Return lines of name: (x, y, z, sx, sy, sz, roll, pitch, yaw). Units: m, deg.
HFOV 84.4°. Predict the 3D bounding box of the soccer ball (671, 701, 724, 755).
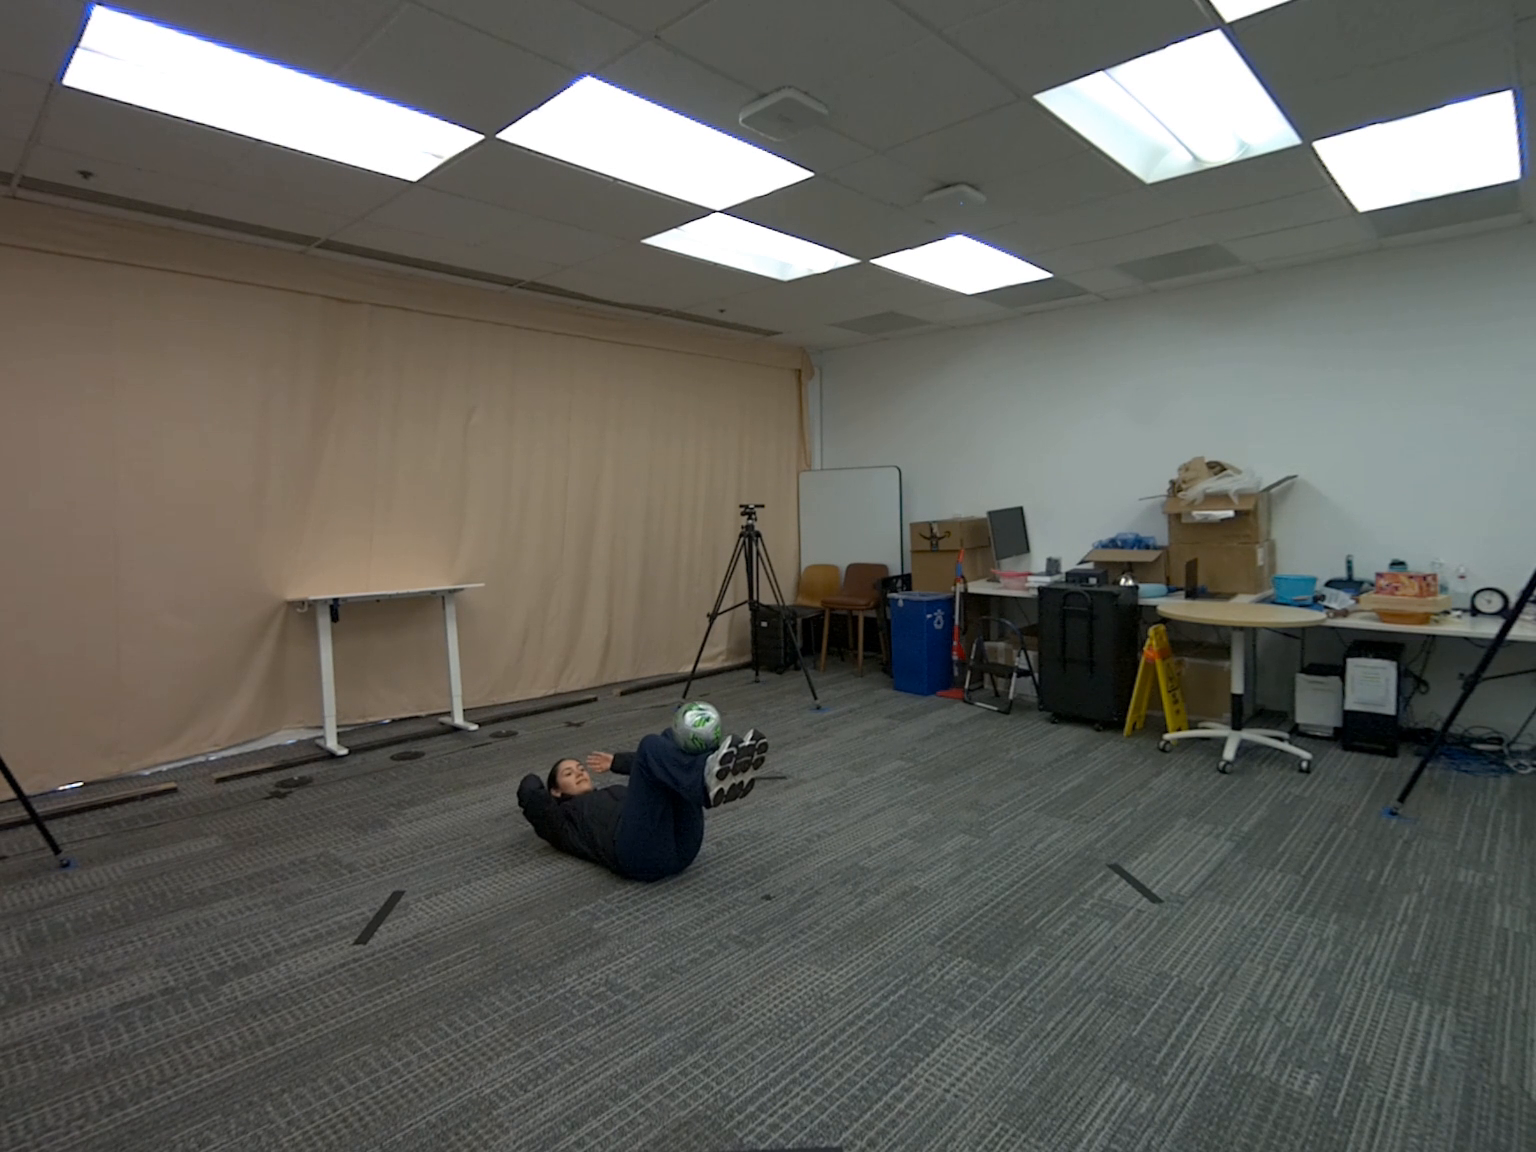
soccer ball: (-0.244, 0.542, 2.980, 0.187, 0.187, 0.188, 2, 5, -2)
